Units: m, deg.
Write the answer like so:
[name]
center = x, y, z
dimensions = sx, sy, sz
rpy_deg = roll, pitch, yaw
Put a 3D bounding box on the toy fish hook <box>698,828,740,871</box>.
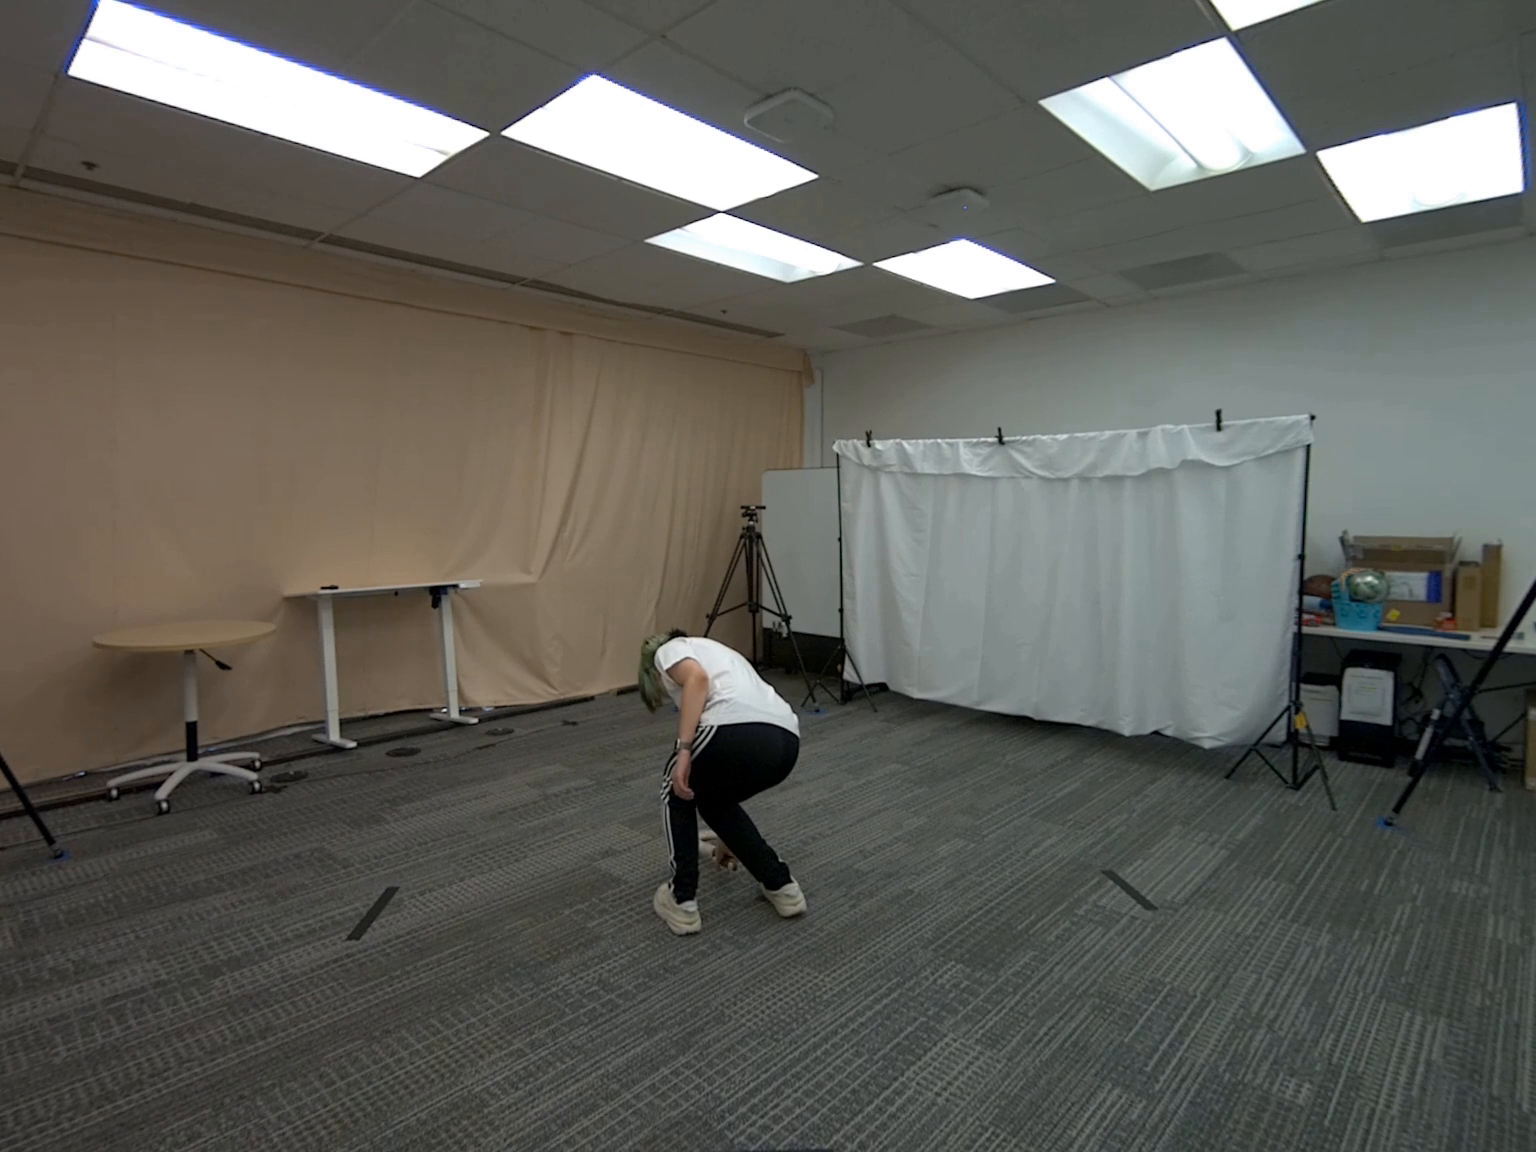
[toy fish hook]
center = -0.174, 1.072, 3.323
dimensions = 0.220, 0.048, 0.516
rpy_deg = -4, 0, -22
